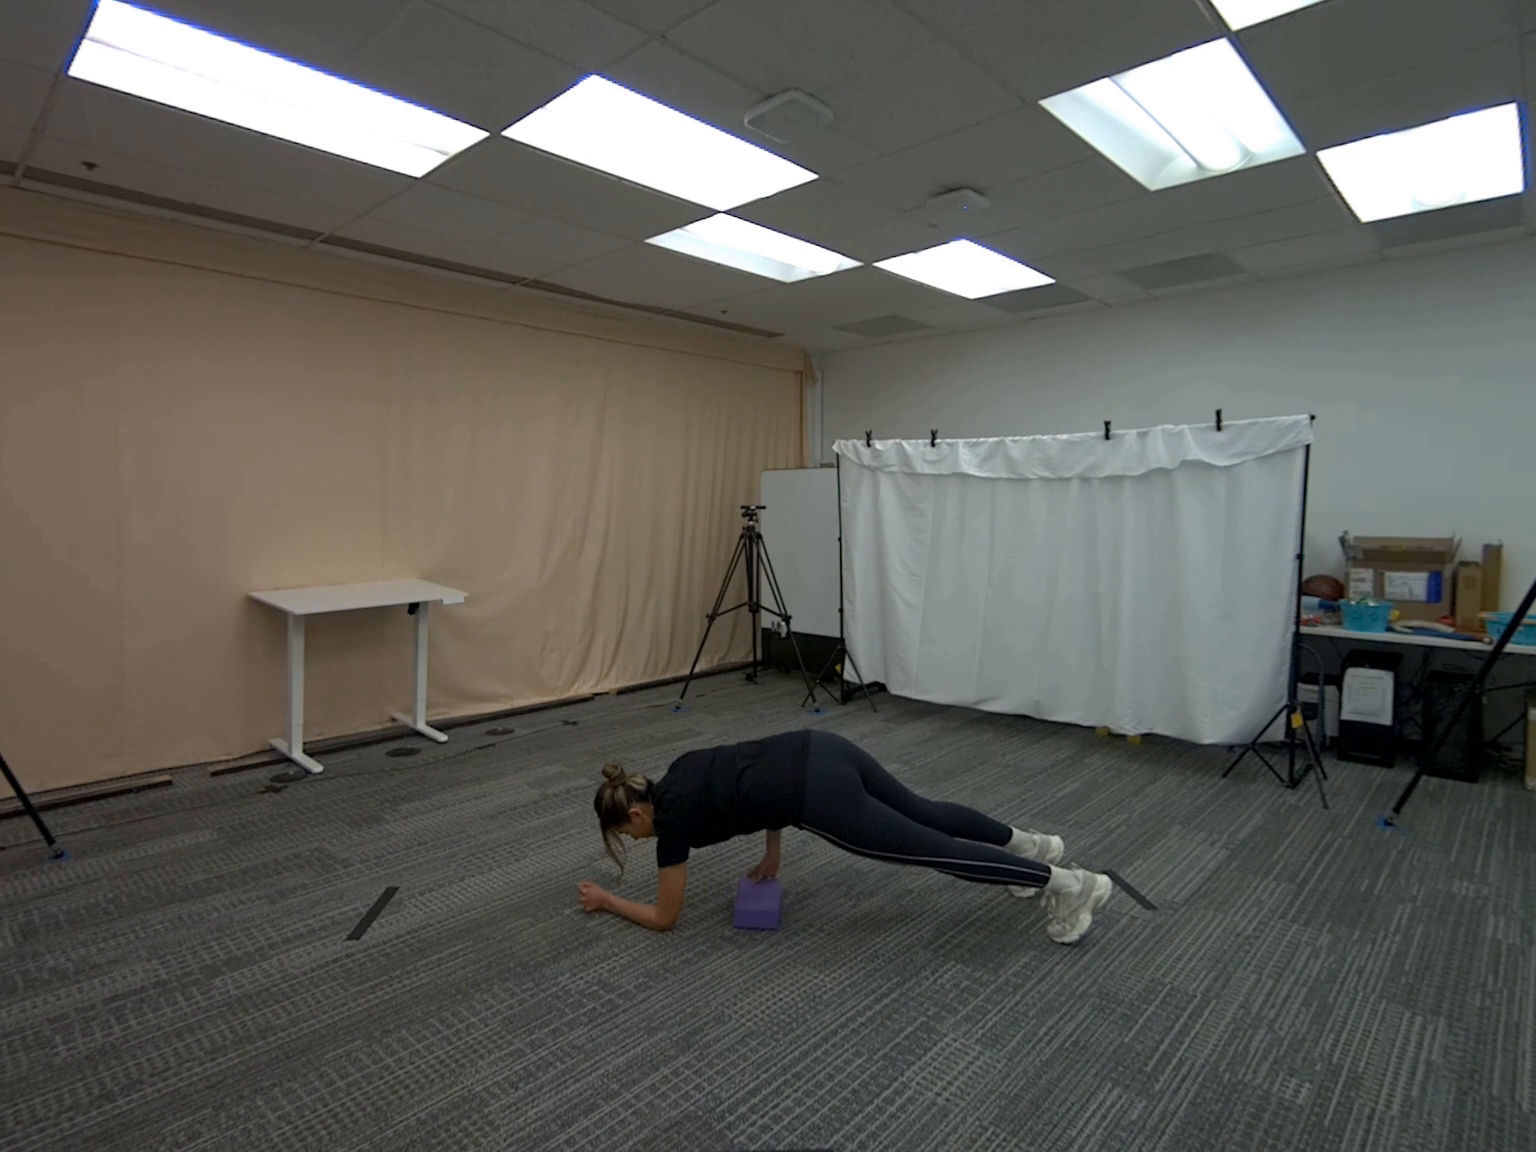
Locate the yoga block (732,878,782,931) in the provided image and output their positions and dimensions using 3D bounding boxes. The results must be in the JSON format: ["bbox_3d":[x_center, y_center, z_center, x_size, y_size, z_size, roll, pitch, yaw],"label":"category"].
[{"bbox_3d":[-0.024,1.119,2.889,0.149,0.076,0.229,2,4,0],"label":"yoga block"}]
